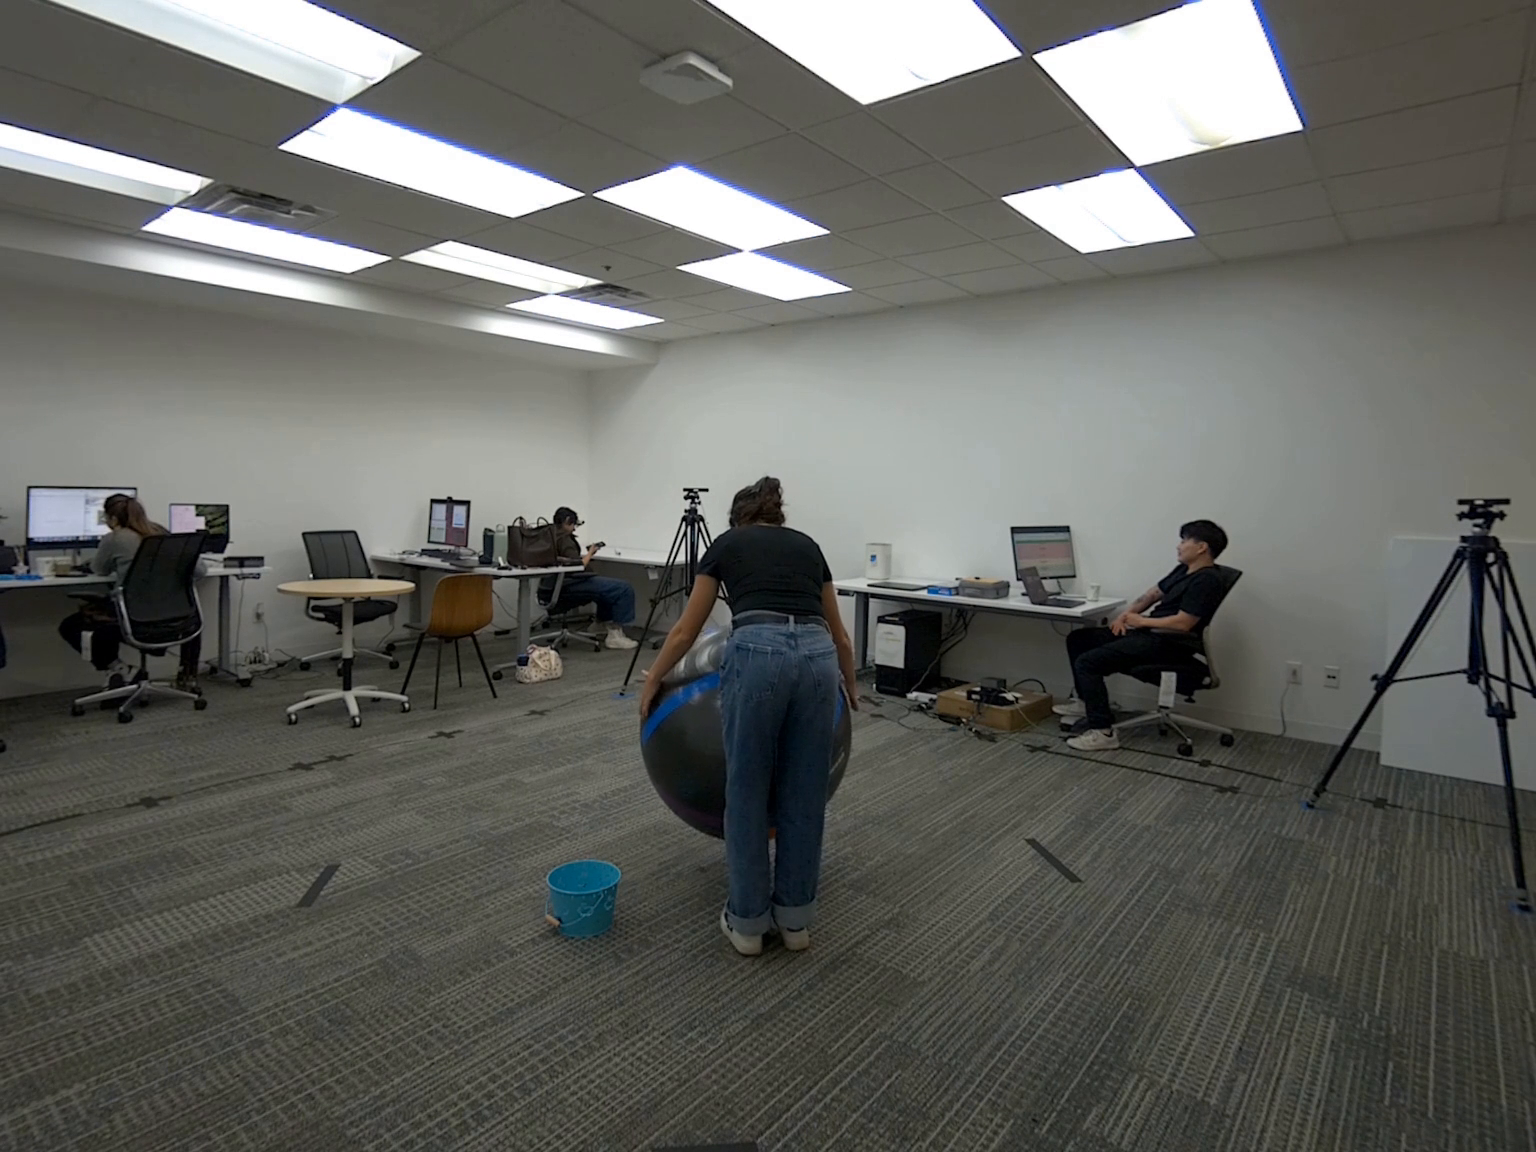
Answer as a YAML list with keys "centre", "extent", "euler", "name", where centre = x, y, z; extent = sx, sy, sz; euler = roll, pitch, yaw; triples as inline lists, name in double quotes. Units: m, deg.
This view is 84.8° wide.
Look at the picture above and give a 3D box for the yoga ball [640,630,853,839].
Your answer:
- centre: [-0.082, 0.588, 3.061]
  extent: [0.757, 0.755, 0.762]
  euler: [1, 4, -2]
  name: "yoga ball"
